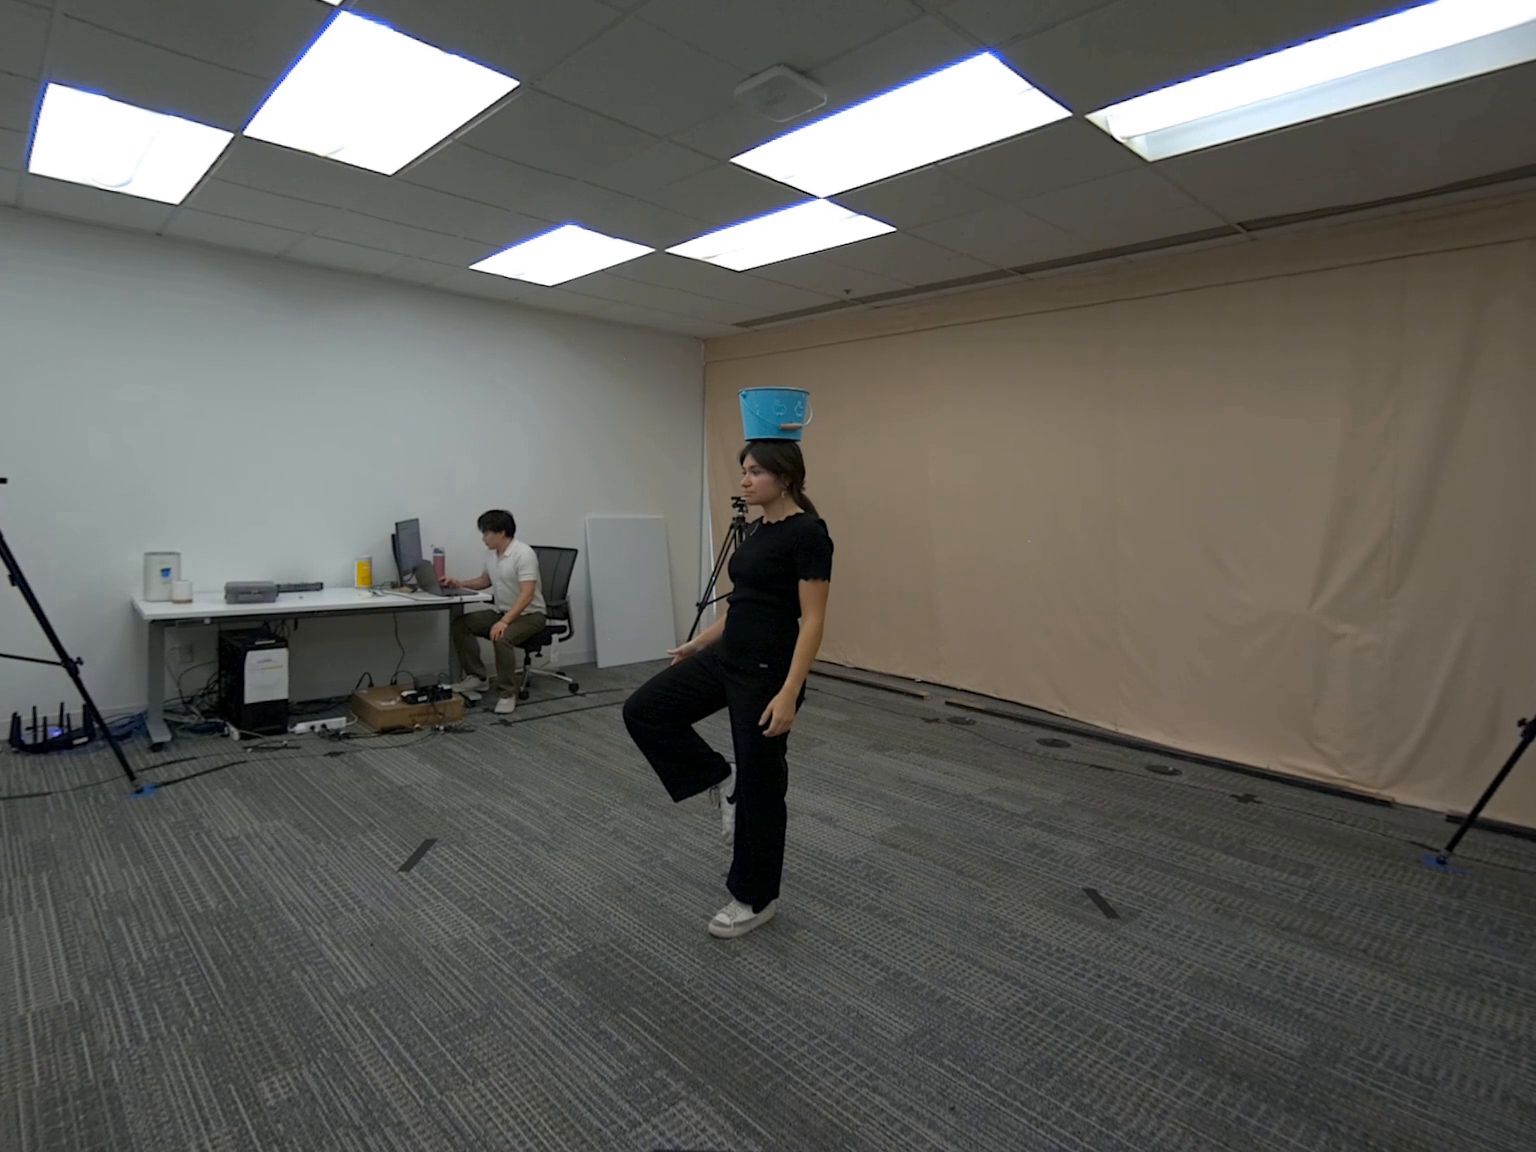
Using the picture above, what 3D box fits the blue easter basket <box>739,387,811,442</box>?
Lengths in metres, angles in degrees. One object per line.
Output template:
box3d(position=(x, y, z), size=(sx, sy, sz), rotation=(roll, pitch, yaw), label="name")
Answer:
box3d(position=(0.017, -0.508, 2.671), size=(0.243, 0.155, 0.244), rotation=(0, 4, -1), label="blue easter basket")
